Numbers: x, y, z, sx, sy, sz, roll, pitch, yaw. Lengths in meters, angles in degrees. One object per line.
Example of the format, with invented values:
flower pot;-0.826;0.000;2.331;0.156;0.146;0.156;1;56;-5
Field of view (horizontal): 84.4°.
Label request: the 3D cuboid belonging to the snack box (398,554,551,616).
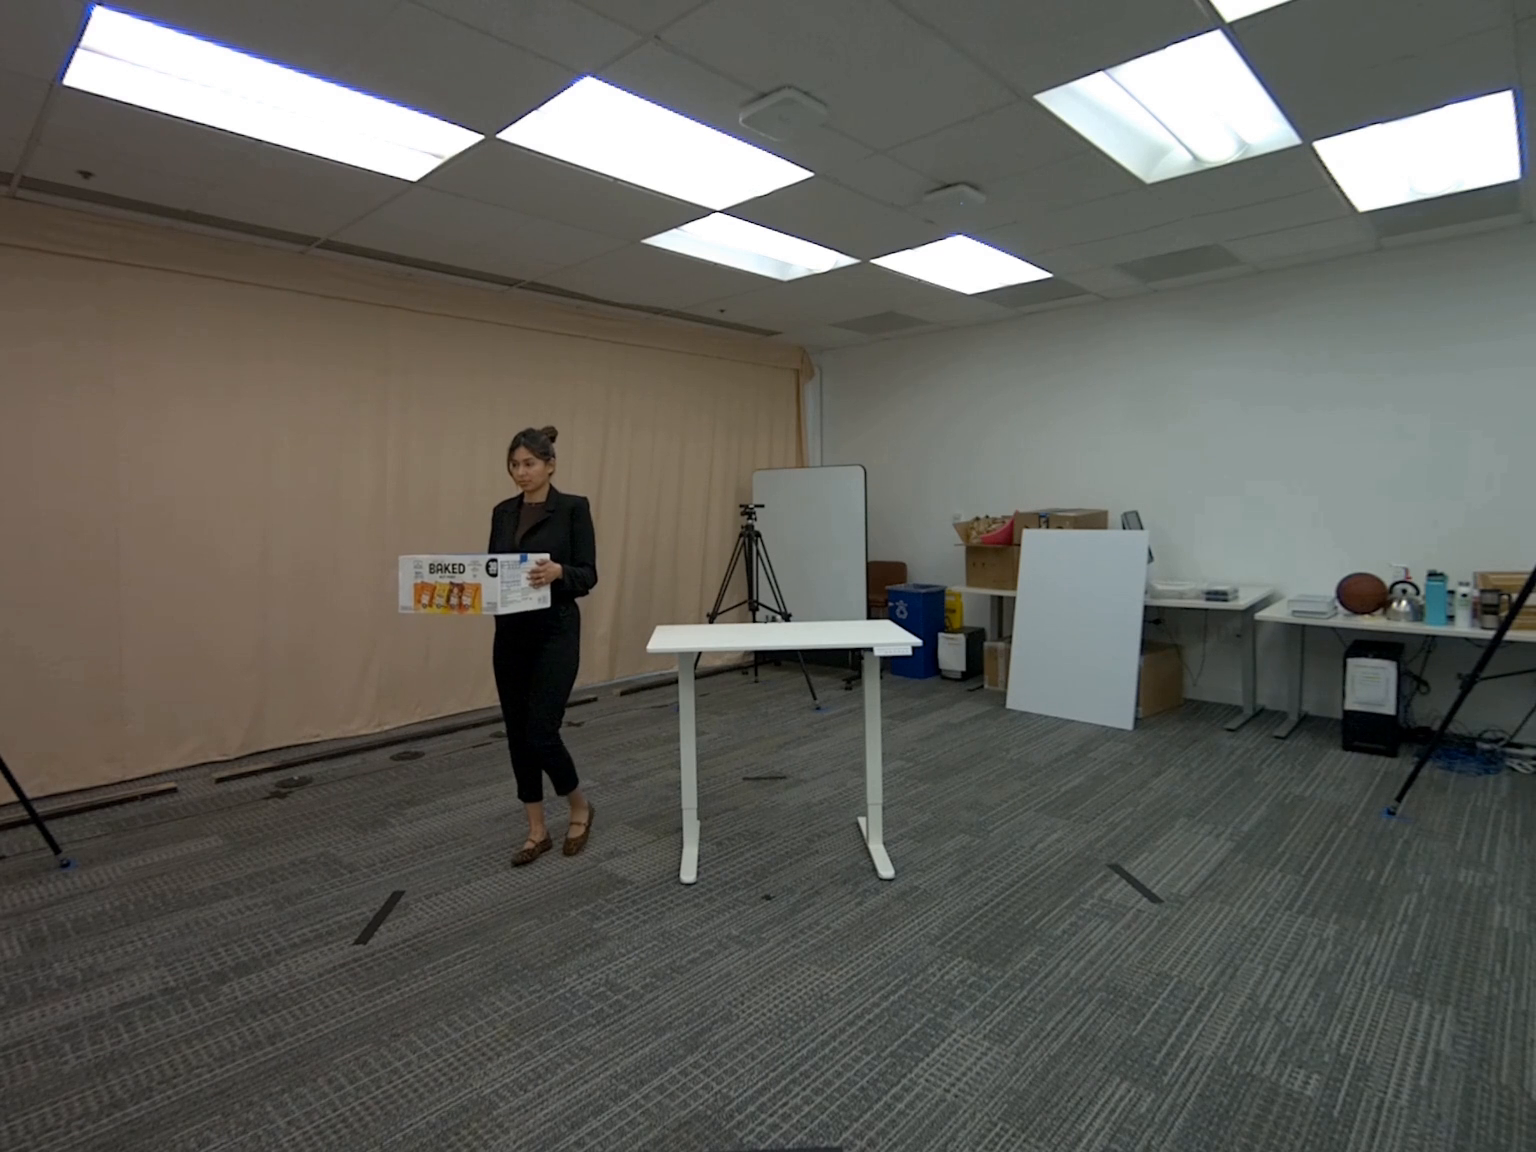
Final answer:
snack box;-1.042;0.026;3.034;0.413;0.205;0.334;0;3;18
